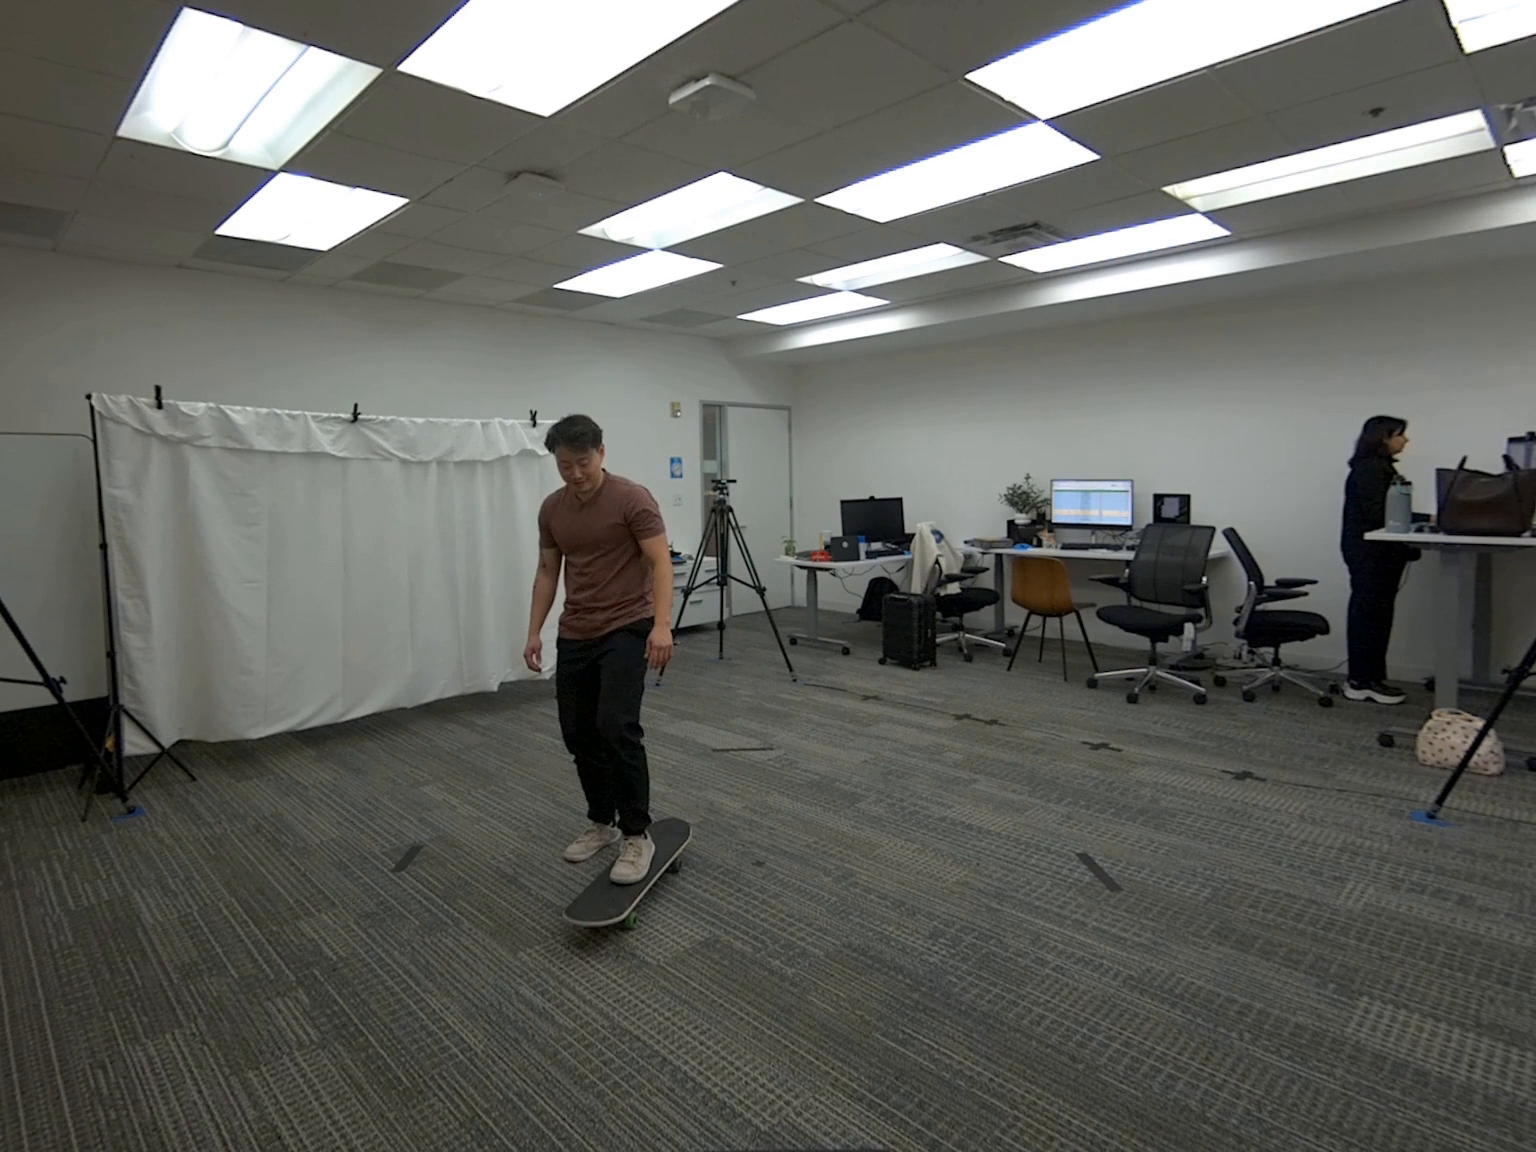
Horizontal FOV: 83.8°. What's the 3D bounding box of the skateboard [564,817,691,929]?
[{"bbox_3d":[-0.445,1.020,2.909,0.197,0.110,0.776,0,6,16],"label":"skateboard"}]
